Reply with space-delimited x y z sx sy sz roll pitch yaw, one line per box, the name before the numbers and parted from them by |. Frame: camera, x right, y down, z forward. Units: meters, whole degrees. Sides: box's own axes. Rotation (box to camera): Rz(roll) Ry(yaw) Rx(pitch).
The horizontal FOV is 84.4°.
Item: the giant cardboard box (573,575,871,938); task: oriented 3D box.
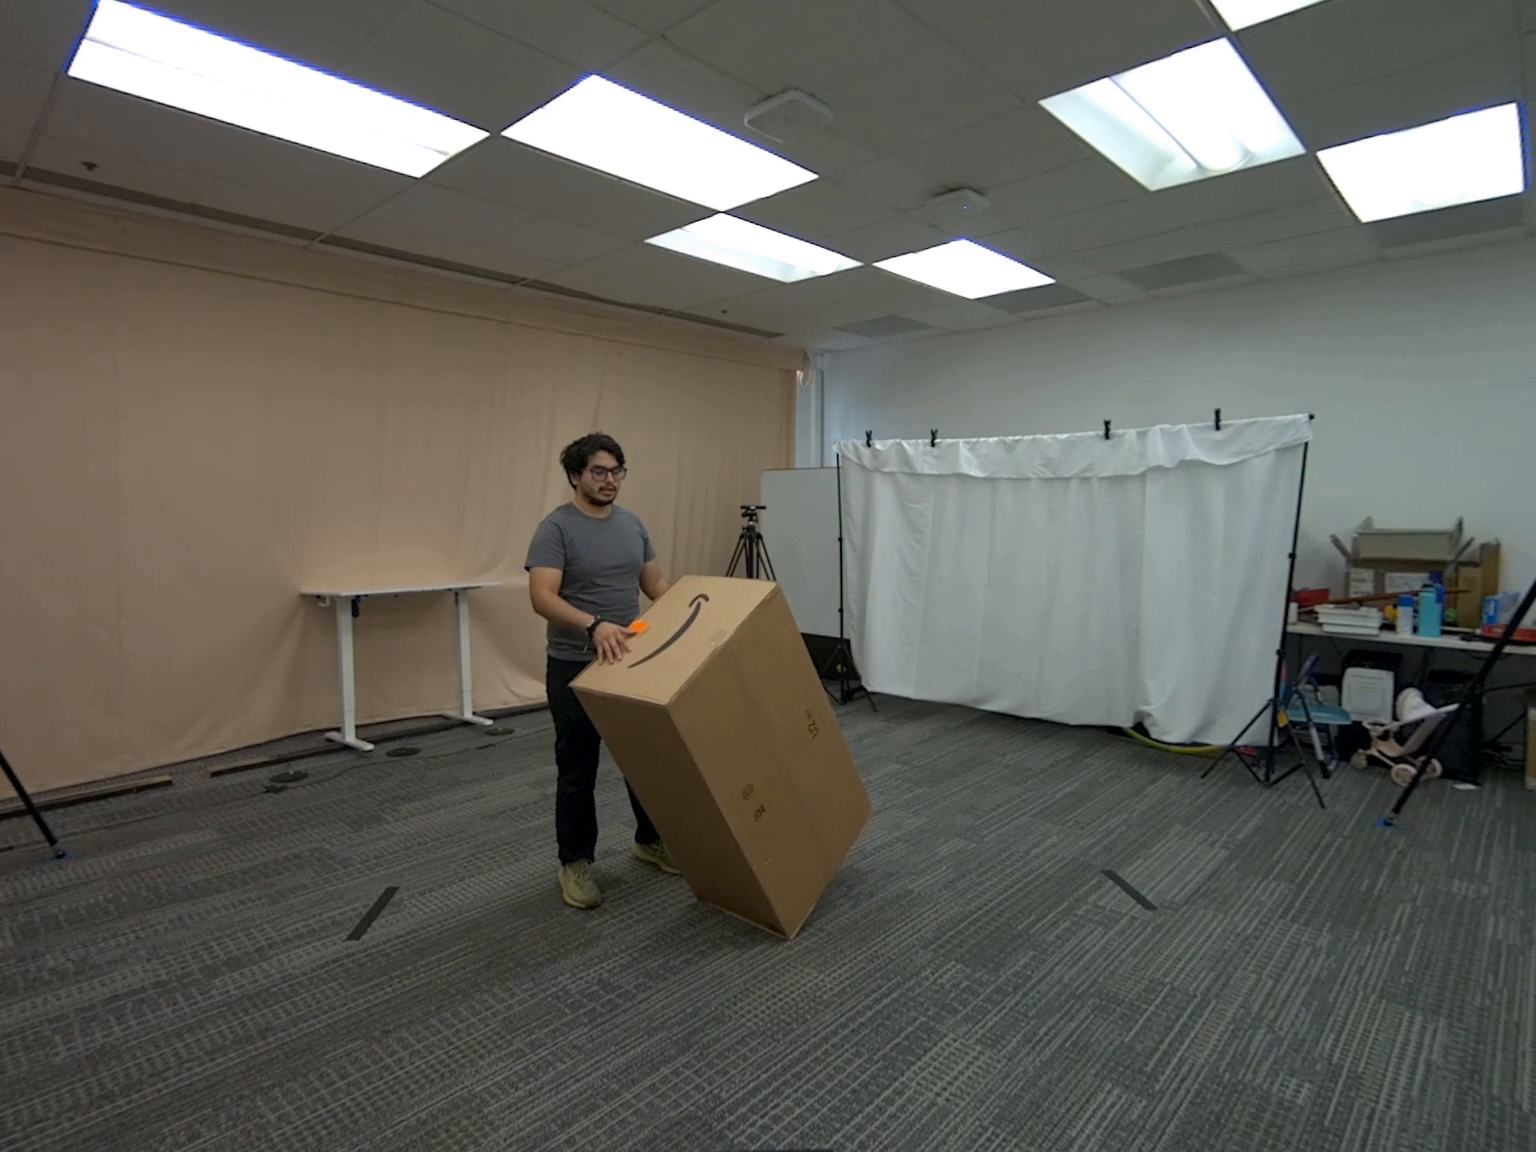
giant cardboard box | -0.109 0.584 2.779 0.440 1.002 0.572 3 36 42
